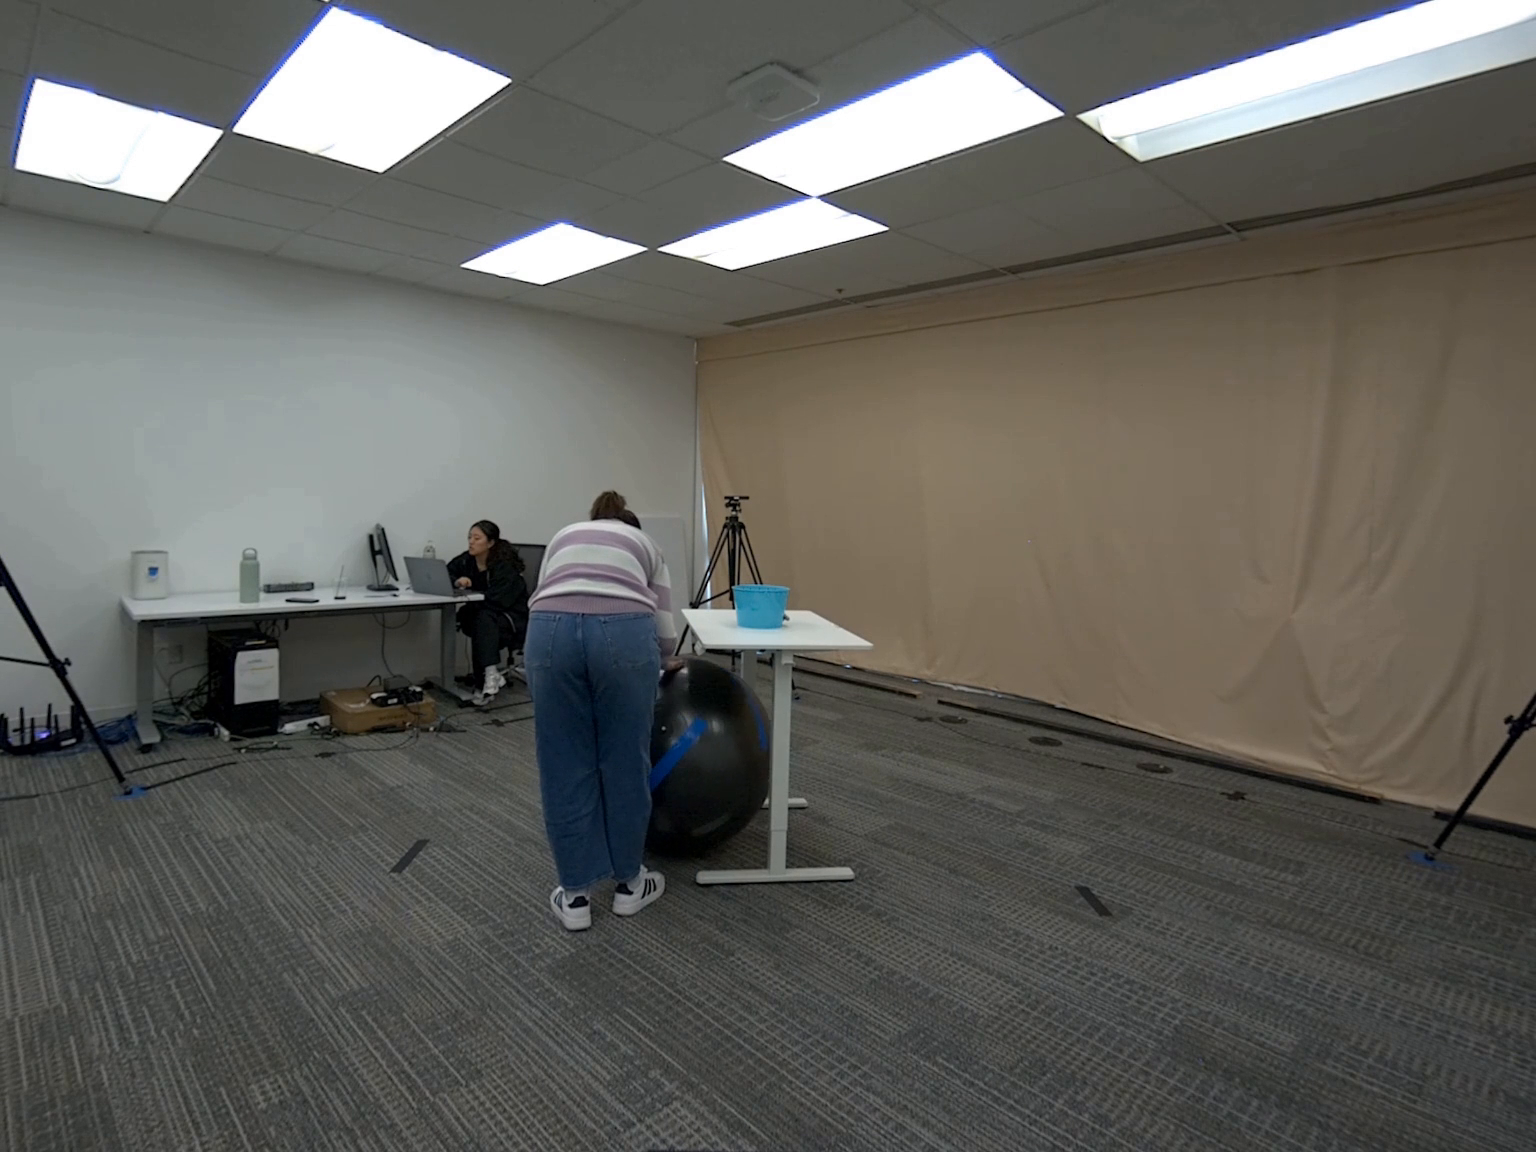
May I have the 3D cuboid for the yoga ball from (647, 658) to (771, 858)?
[{"bbox_3d":[-0.362,0.708,3.347,0.757,0.756,0.761,1,4,-1],"label":"yoga ball"}]
